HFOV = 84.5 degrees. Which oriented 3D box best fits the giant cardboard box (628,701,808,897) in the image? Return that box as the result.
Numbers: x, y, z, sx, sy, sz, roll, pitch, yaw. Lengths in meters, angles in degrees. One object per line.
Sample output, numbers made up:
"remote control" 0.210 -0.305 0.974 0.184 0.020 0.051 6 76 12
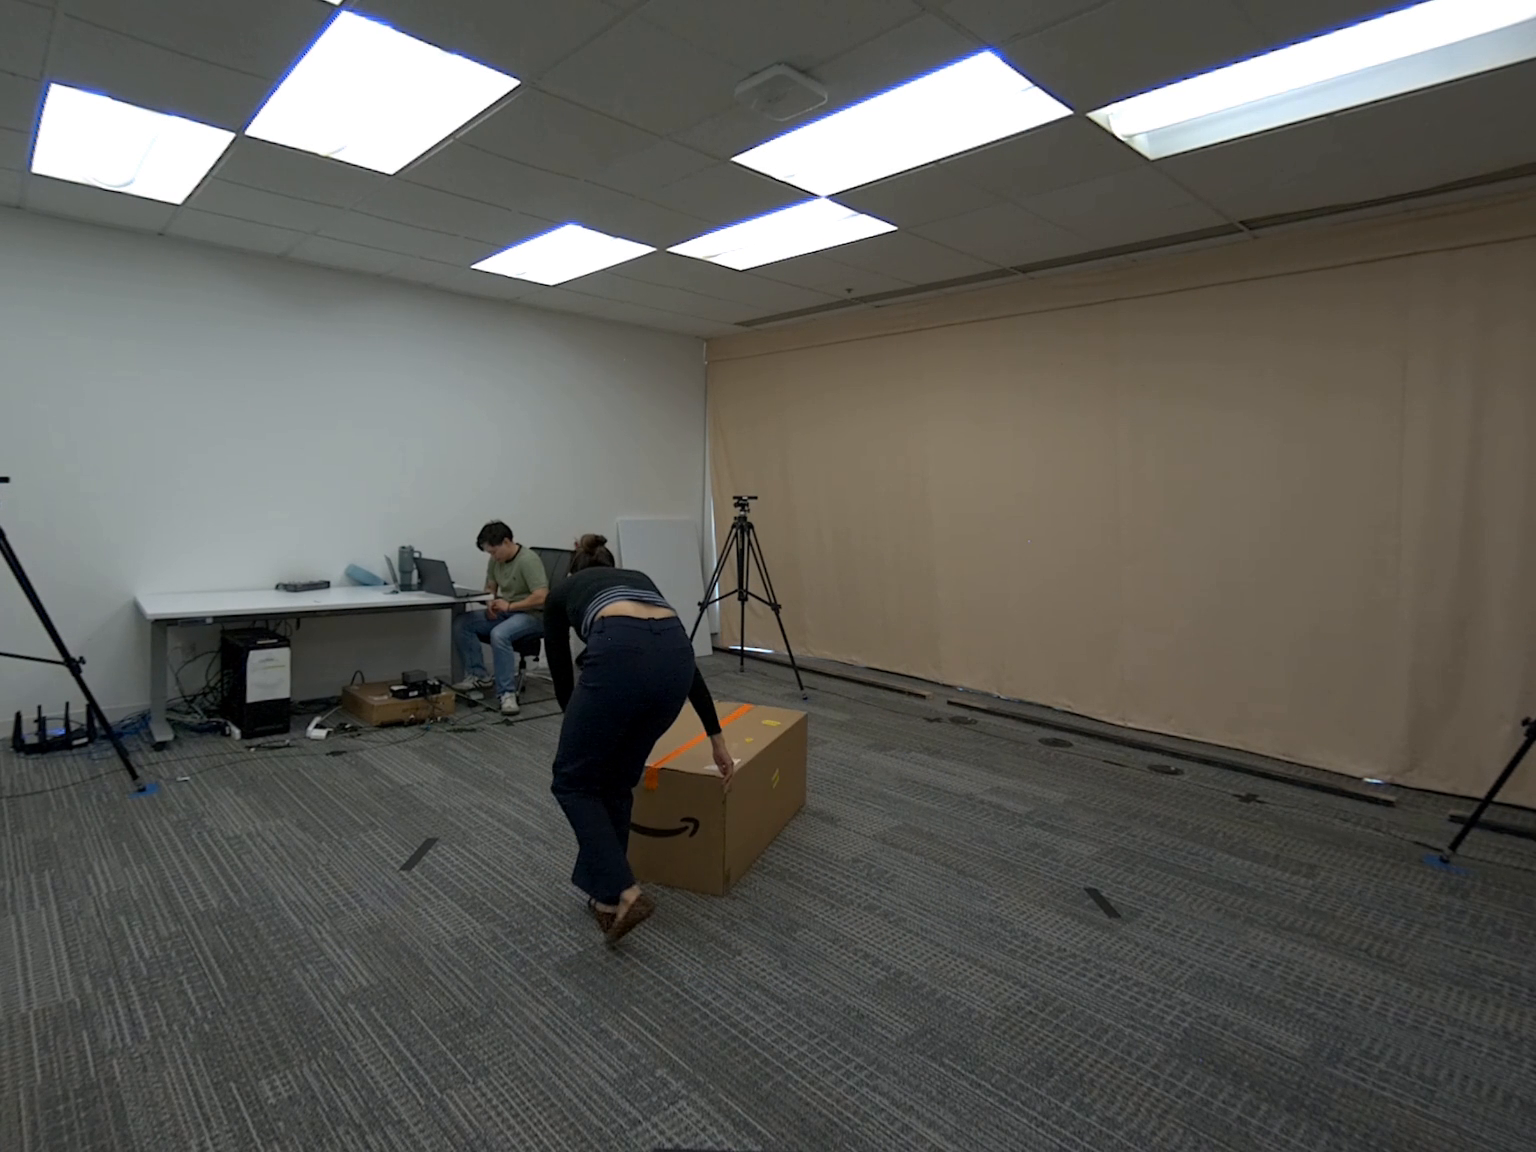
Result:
"giant cardboard box" -0.256 0.852 3.485 0.587 0.425 1.012 3 5 19
